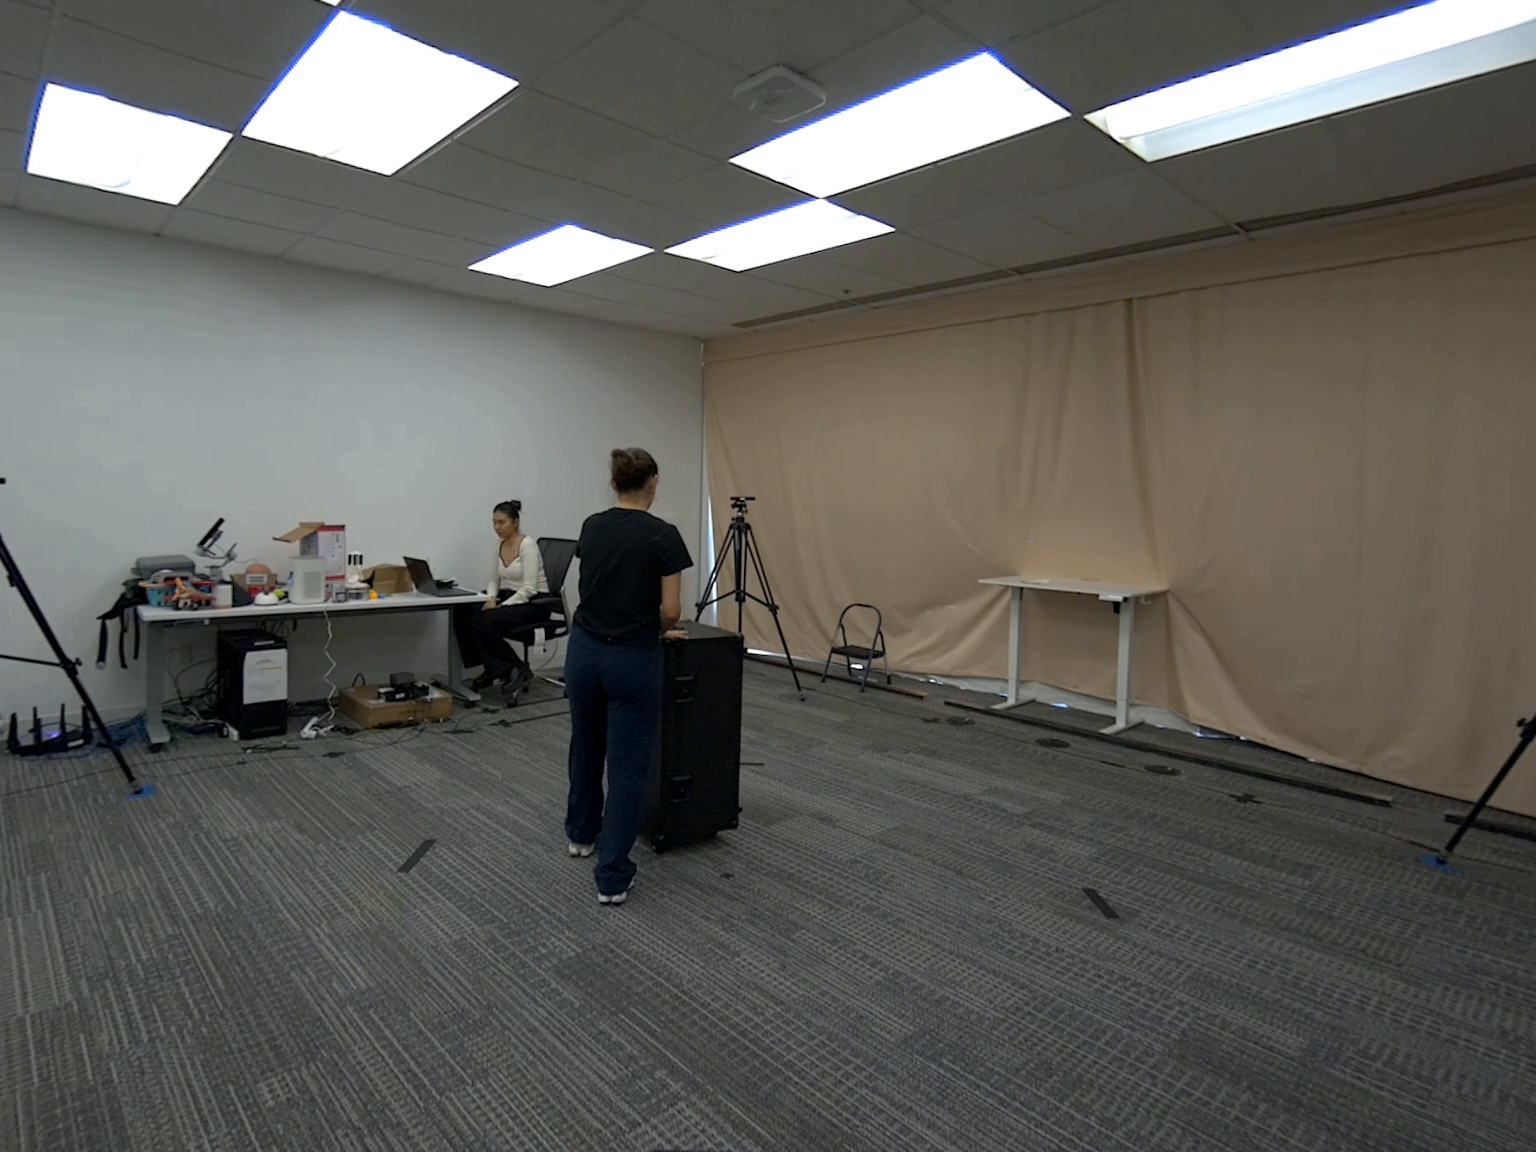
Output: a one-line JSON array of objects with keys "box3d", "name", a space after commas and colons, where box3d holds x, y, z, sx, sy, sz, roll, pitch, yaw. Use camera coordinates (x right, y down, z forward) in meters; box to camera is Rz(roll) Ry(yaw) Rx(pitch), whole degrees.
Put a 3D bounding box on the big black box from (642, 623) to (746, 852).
[{"box3d": [-0.382, 0.644, 3.477, 0.388, 0.860, 0.533, 1, 4, -32], "name": "big black box"}]
